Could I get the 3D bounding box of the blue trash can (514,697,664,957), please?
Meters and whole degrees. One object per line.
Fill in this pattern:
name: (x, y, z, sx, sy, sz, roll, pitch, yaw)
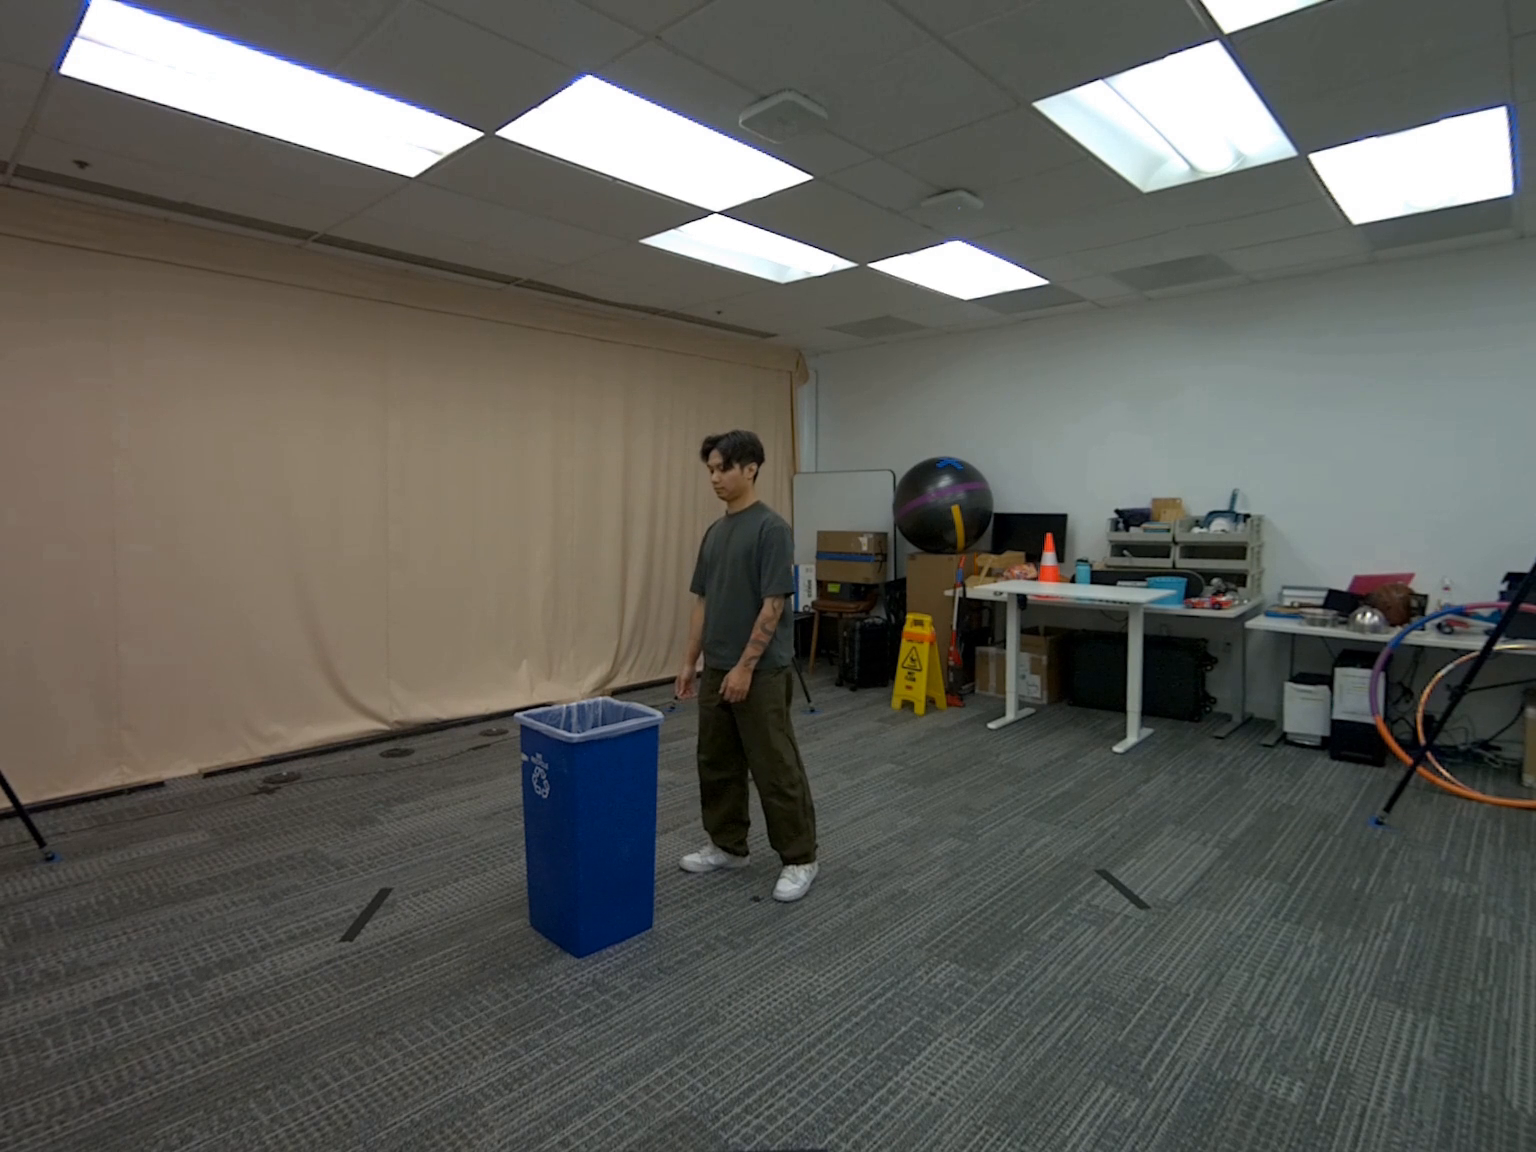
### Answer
blue trash can: (-0.582, 0.808, 2.775, 0.366, 0.712, 0.386, -4, 4, -45)
